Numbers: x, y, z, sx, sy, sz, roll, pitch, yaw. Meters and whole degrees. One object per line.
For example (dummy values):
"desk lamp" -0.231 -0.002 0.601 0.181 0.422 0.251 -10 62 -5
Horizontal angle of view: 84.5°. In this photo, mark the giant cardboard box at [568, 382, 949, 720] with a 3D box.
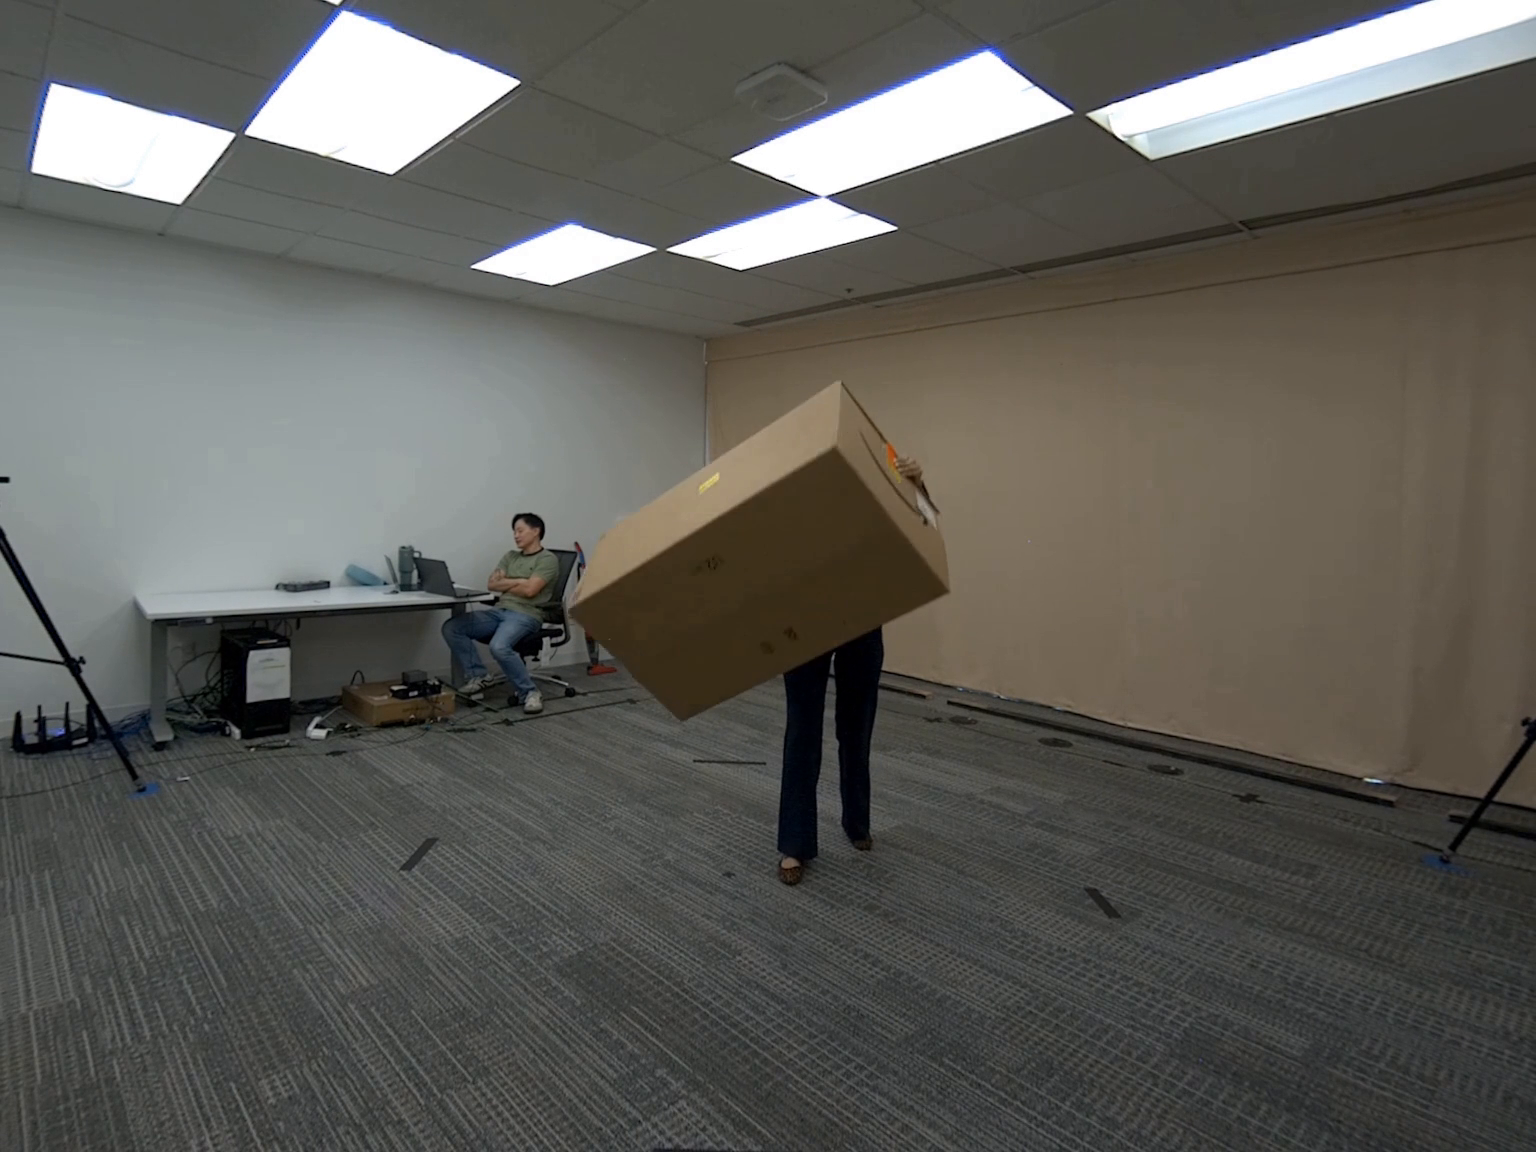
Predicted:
"giant cardboard box" -0.045 -0.043 2.673 1.033 0.564 0.433 -29 27 27
